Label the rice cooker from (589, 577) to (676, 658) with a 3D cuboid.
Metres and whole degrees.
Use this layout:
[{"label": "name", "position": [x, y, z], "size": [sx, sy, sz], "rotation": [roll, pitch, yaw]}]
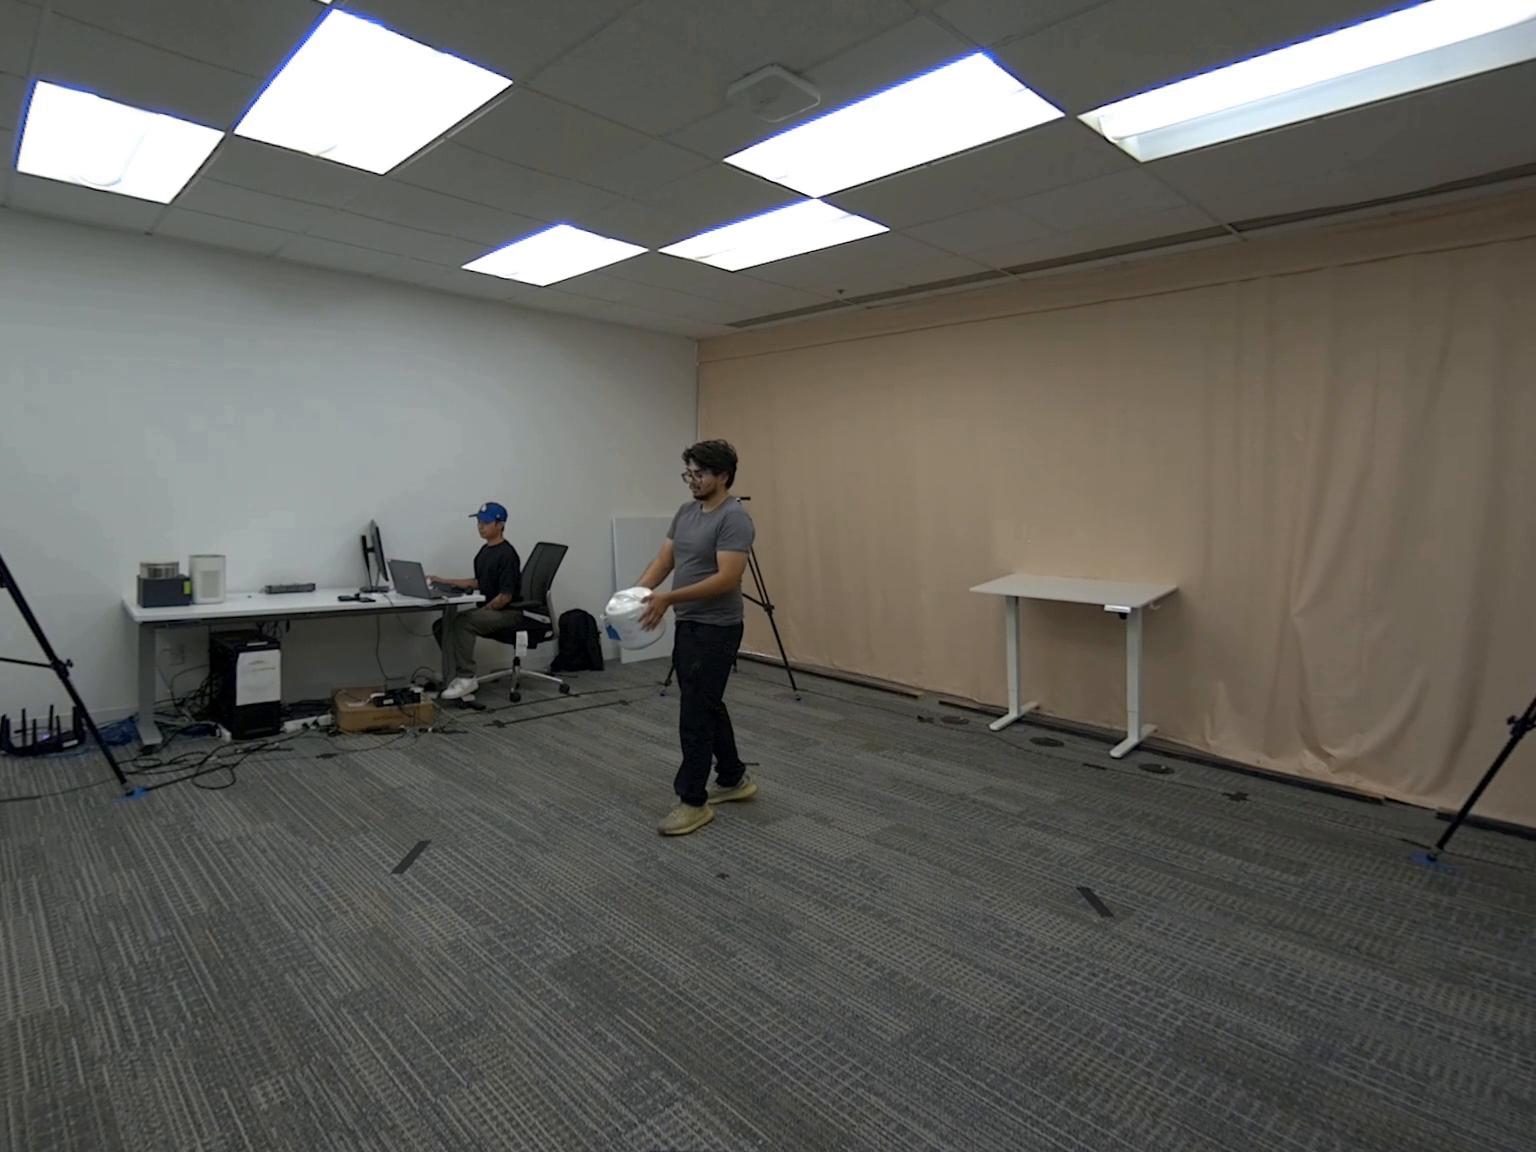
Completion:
[{"label": "rice cooker", "position": [-0.547, 0.164, 3.480], "size": [0.226, 0.228, 0.216], "rotation": [1, 29, 45]}]
